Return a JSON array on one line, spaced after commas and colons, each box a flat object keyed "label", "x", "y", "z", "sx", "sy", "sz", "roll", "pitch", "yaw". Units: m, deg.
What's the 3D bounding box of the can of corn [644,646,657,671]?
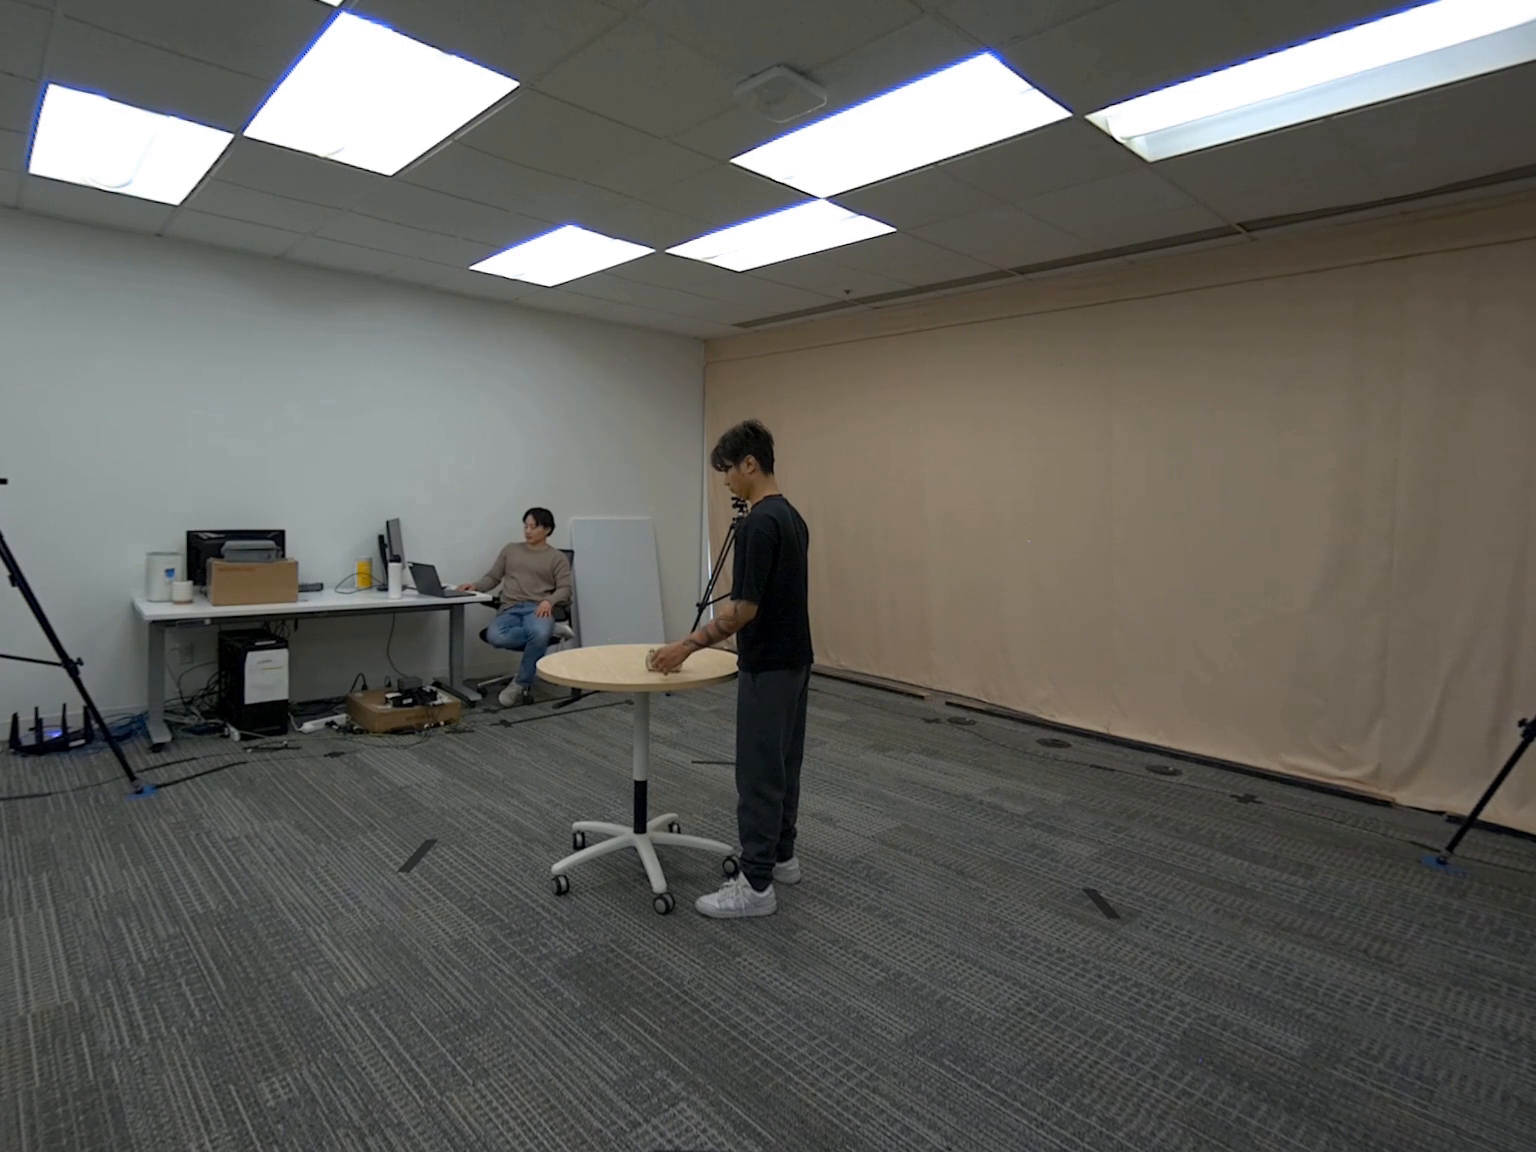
[{"label": "can of corn", "x": -0.359, "y": 0.296, "z": 2.935, "sx": 0.112, "sy": 0.074, "sz": 0.074, "roll": 3, "pitch": 4, "yaw": 7}]
